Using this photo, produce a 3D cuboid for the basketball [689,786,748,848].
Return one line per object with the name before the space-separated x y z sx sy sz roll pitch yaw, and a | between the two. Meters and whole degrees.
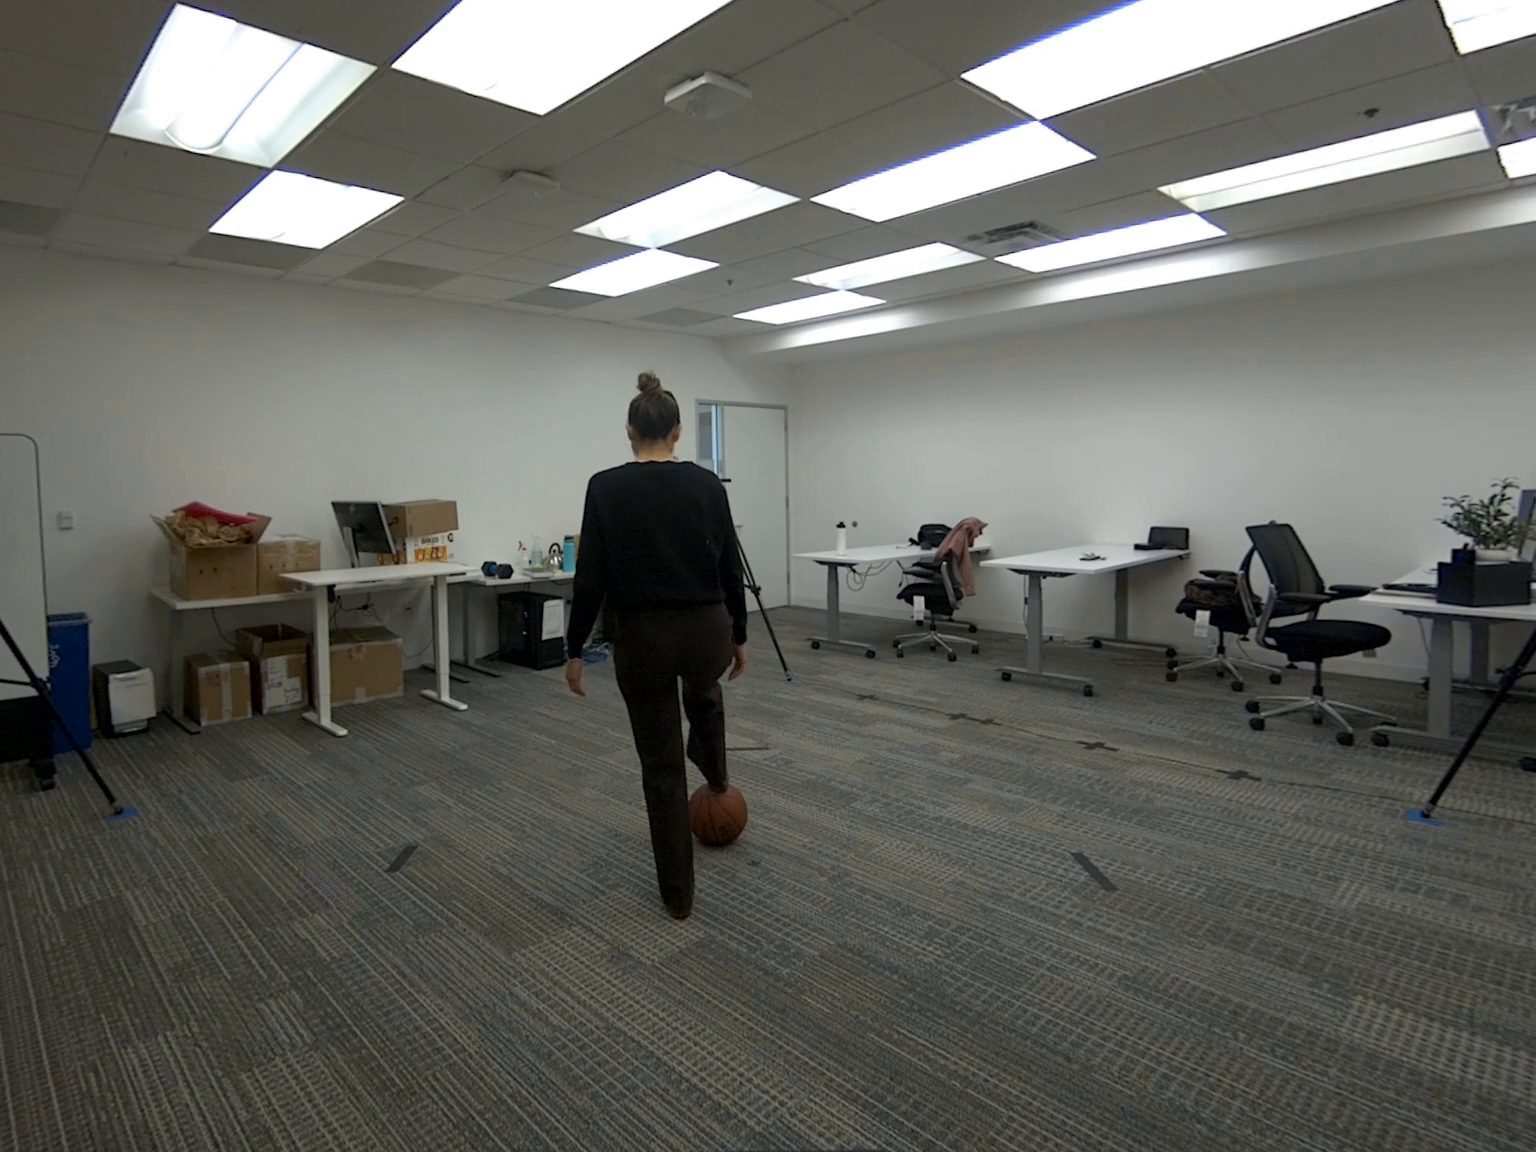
basketball | -0.194 0.914 3.300 0.236 0.235 0.237 -1 5 -2
